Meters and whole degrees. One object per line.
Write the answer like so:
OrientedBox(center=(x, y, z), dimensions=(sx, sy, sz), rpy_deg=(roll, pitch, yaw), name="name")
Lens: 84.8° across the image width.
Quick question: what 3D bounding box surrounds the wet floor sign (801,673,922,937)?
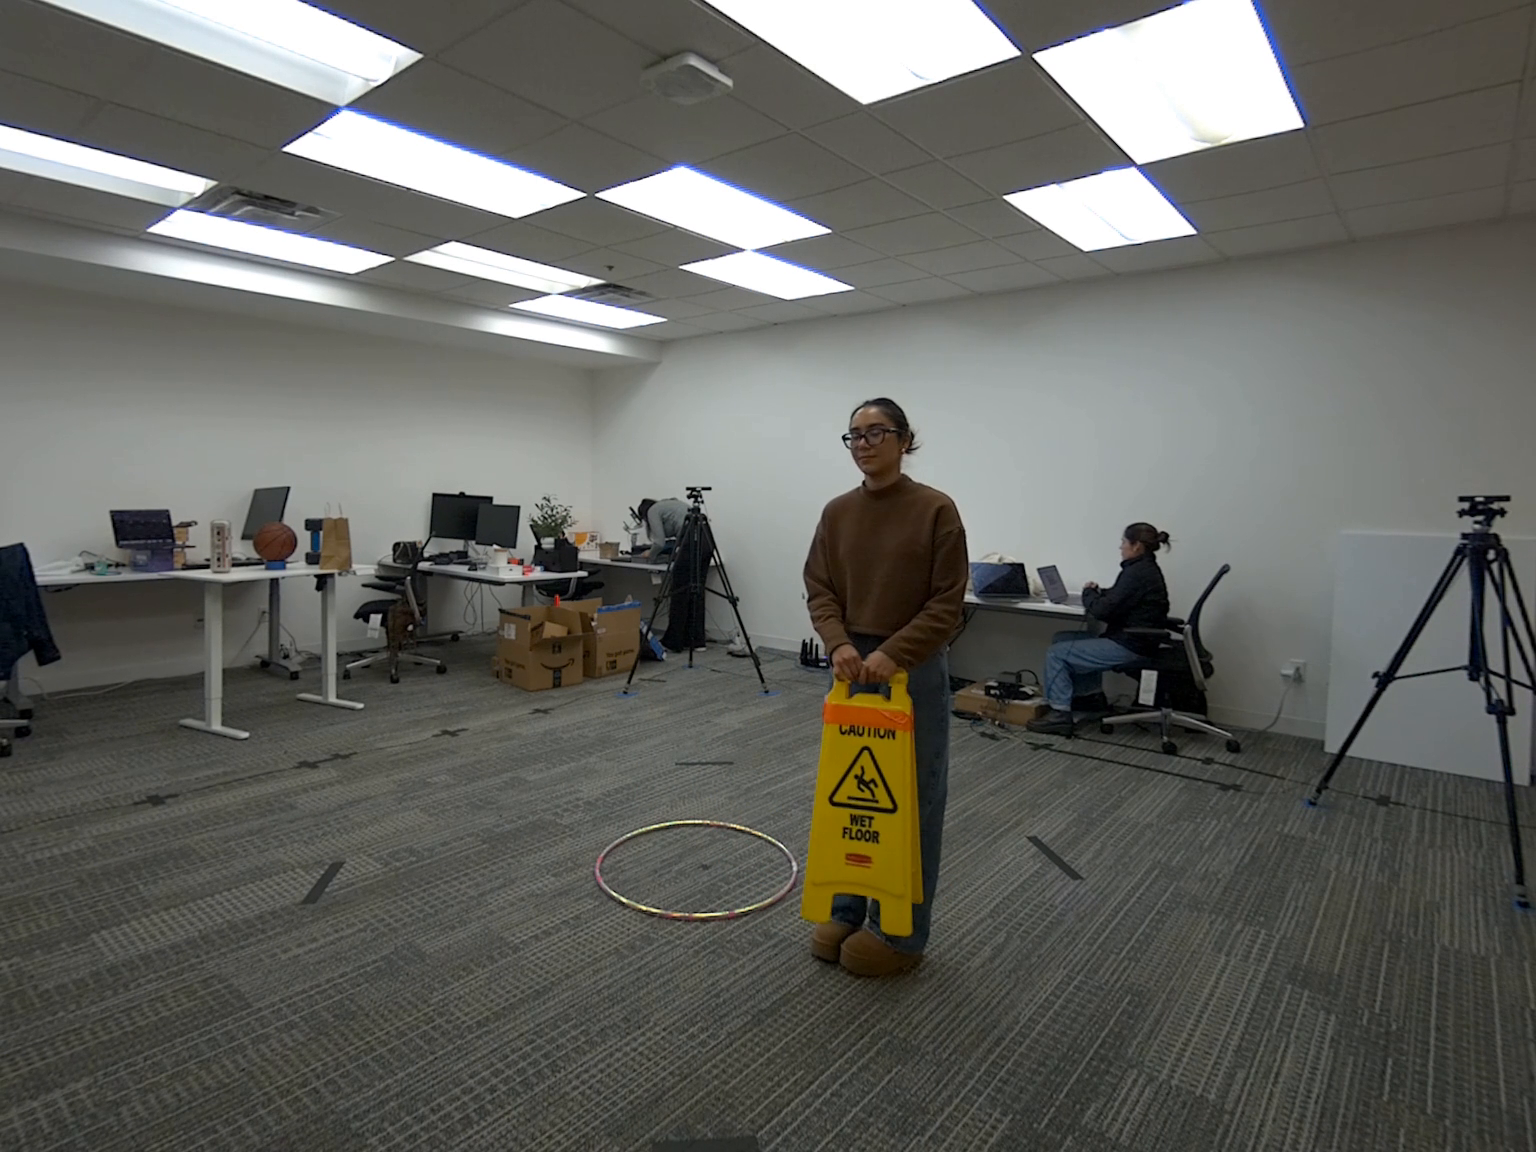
OrientedBox(center=(0.260, 0.559, 2.280), dimensions=(0.288, 0.649, 0.283), rpy_deg=(0, -4, 18), name="wet floor sign")
